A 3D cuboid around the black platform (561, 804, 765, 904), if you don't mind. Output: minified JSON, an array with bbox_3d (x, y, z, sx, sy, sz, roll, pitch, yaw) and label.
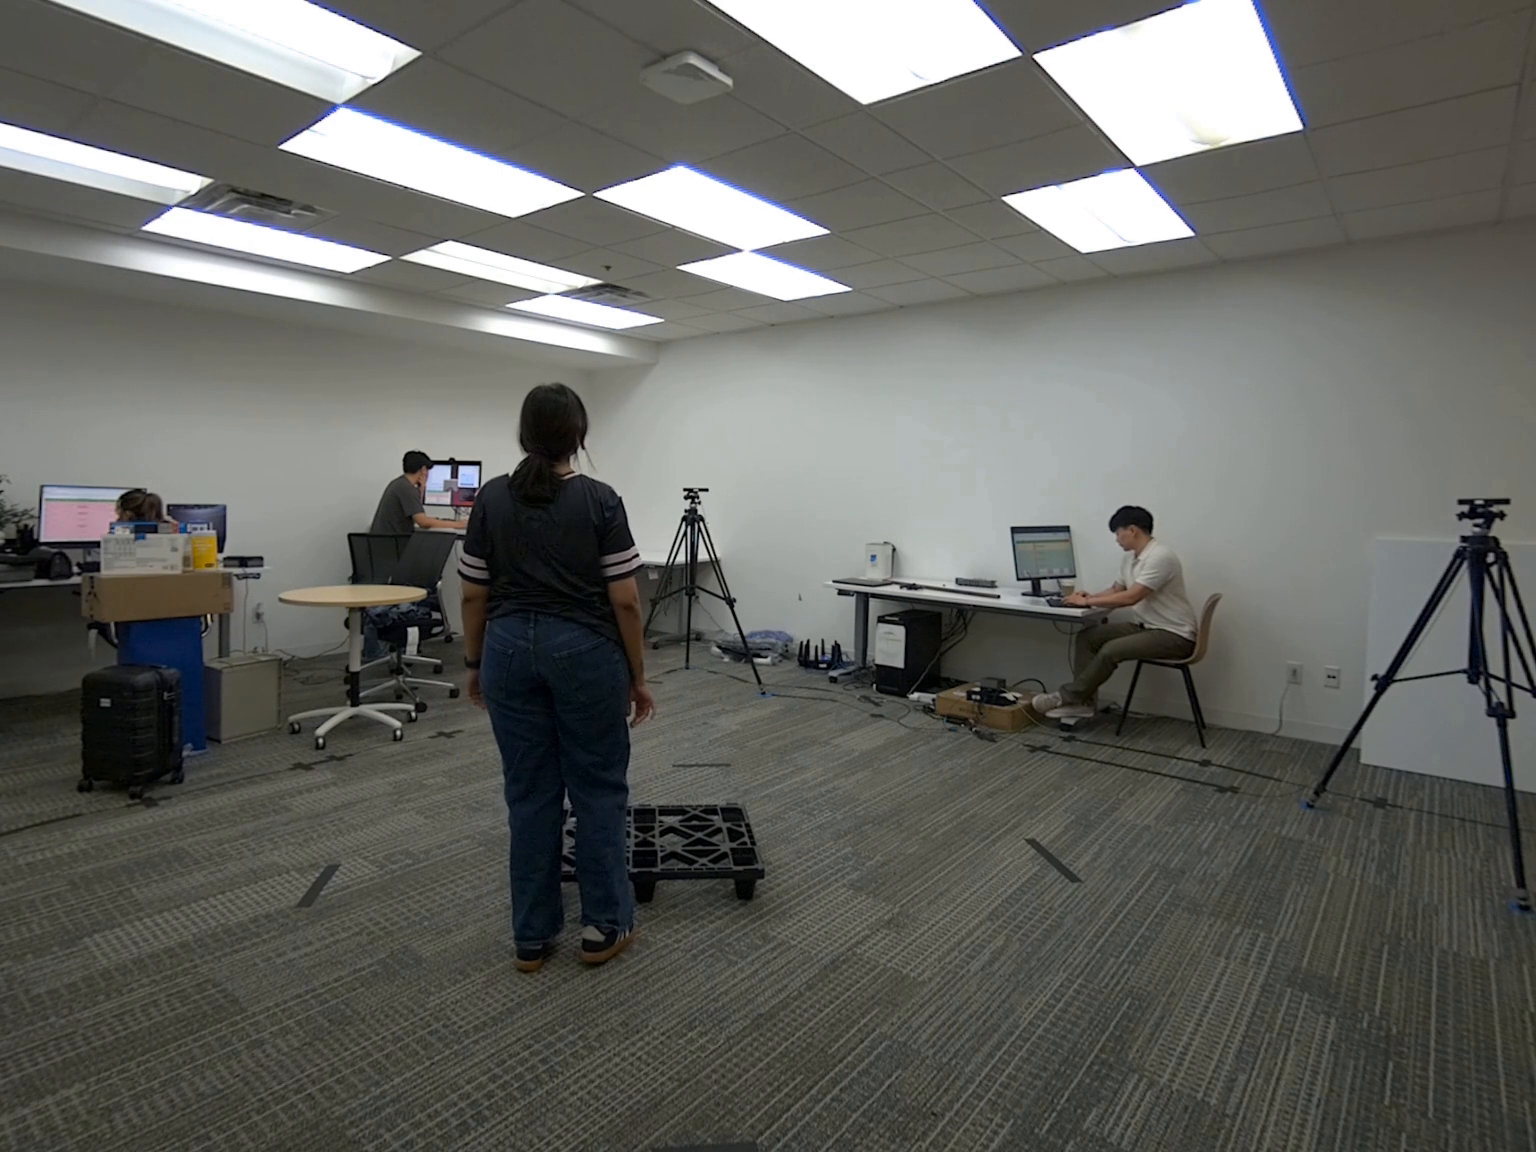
[{"bbox_3d":[-0.450,1.004,3.078,0.801,0.142,0.611,0,6,-6],"label":"black platform"}]
